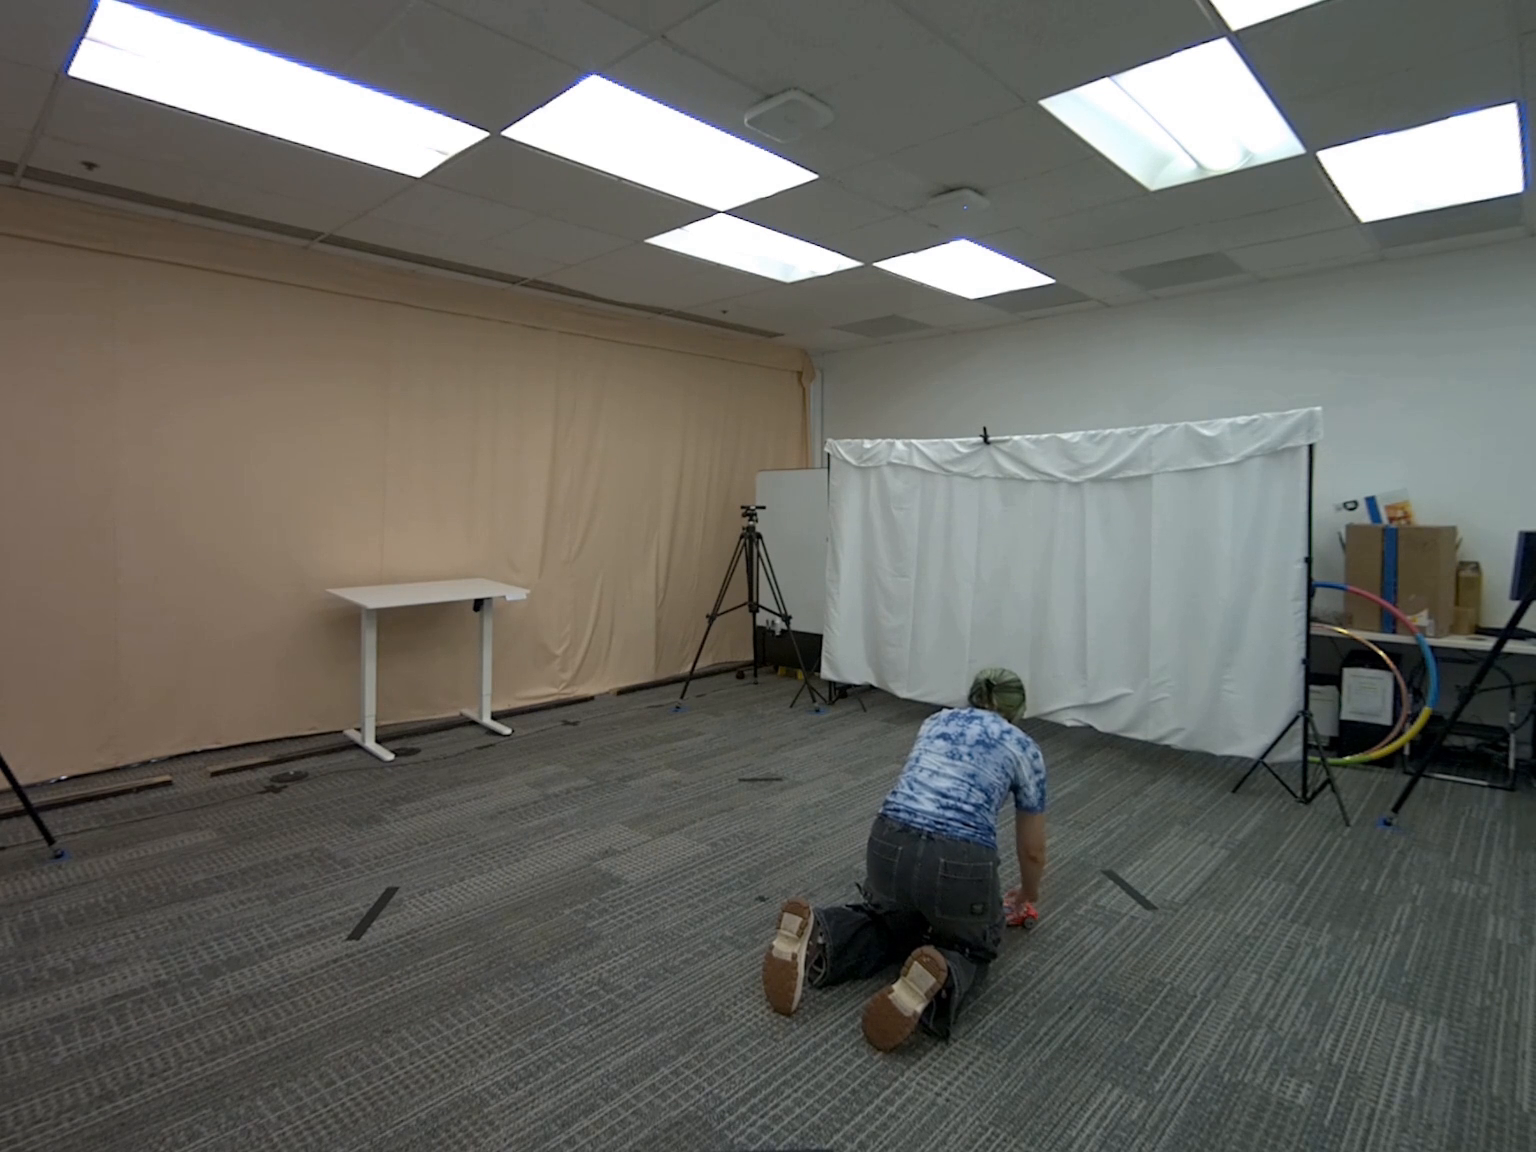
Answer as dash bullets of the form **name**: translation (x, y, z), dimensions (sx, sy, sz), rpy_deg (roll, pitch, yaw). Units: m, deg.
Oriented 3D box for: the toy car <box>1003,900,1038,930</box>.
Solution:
- **toy car**: translation (0.773, 1.129, 2.806), dimensions (0.252, 0.083, 0.131), rpy_deg (10, 3, -7)
